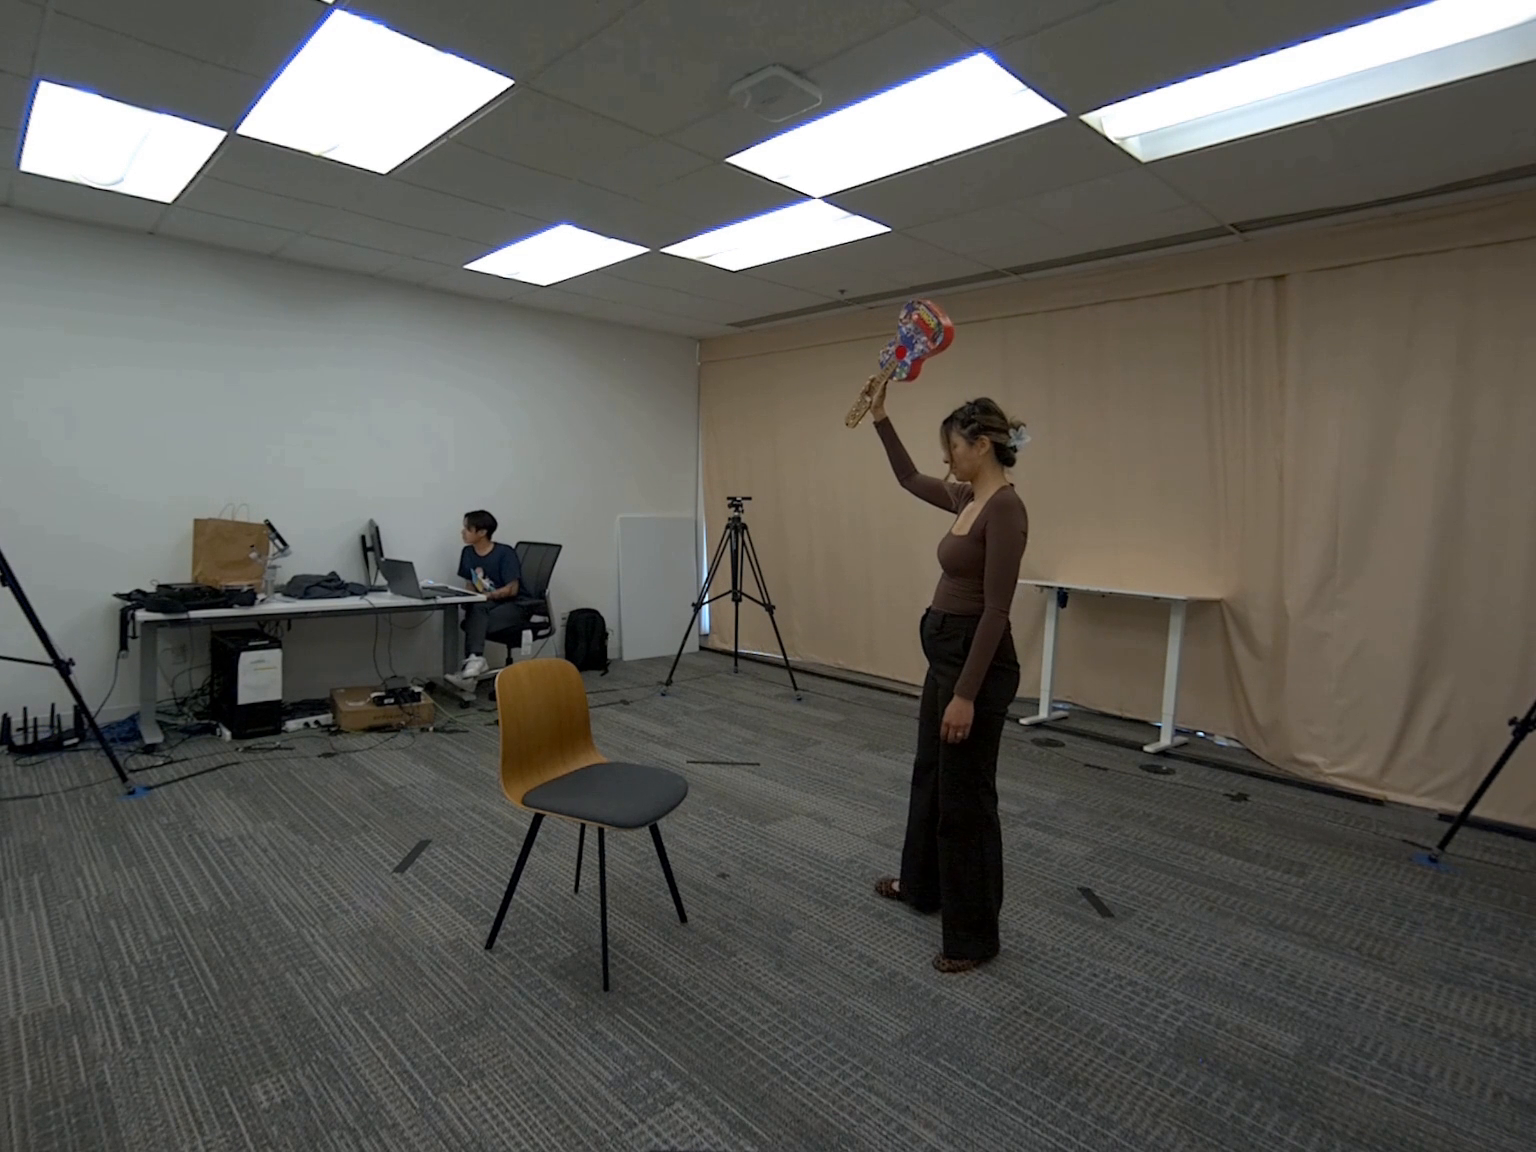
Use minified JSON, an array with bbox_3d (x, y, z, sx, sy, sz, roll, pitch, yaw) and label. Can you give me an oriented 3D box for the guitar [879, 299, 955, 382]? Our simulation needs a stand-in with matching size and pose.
[{"bbox_3d":[0.403,-0.716,2.858,0.069,0.197,0.498,-8,-26,-44],"label":"guitar"}]
